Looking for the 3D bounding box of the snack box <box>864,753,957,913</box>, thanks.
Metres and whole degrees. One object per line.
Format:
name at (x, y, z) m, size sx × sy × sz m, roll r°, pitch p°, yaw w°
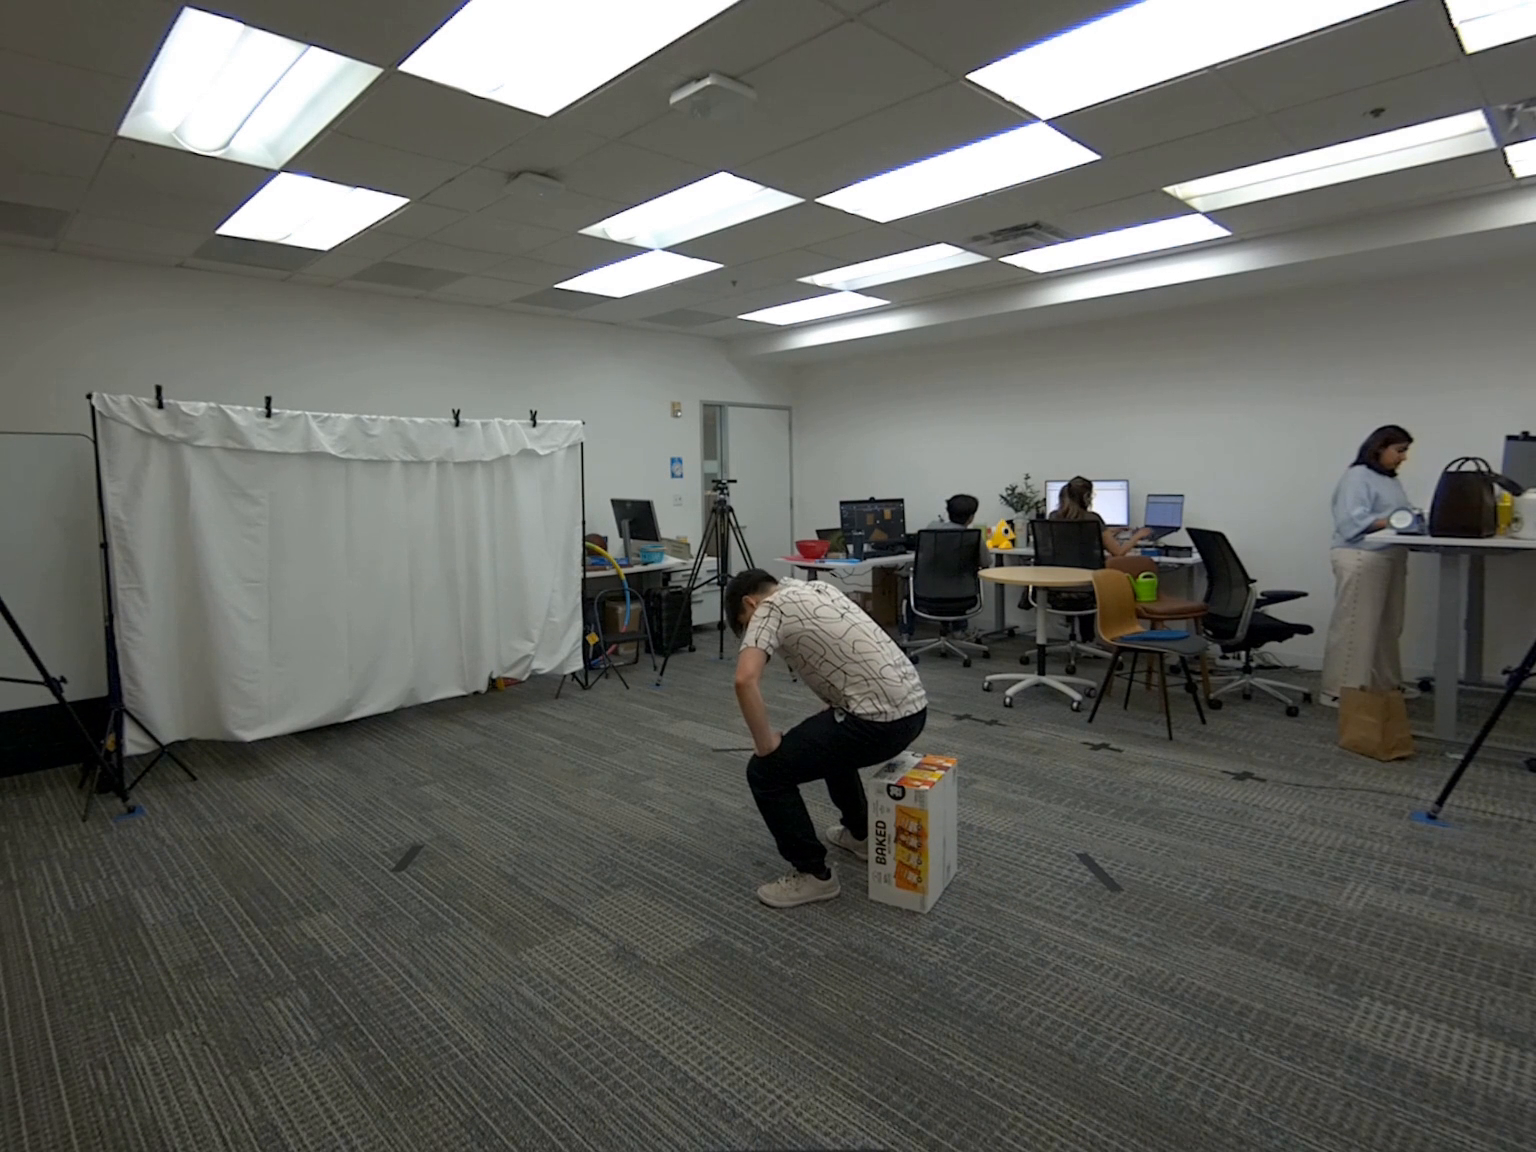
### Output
snack box at (0.504, 0.857, 2.909) m, size 0.211 × 0.404 × 0.333 m, roll 1°, pitch 5°, yaw 29°
